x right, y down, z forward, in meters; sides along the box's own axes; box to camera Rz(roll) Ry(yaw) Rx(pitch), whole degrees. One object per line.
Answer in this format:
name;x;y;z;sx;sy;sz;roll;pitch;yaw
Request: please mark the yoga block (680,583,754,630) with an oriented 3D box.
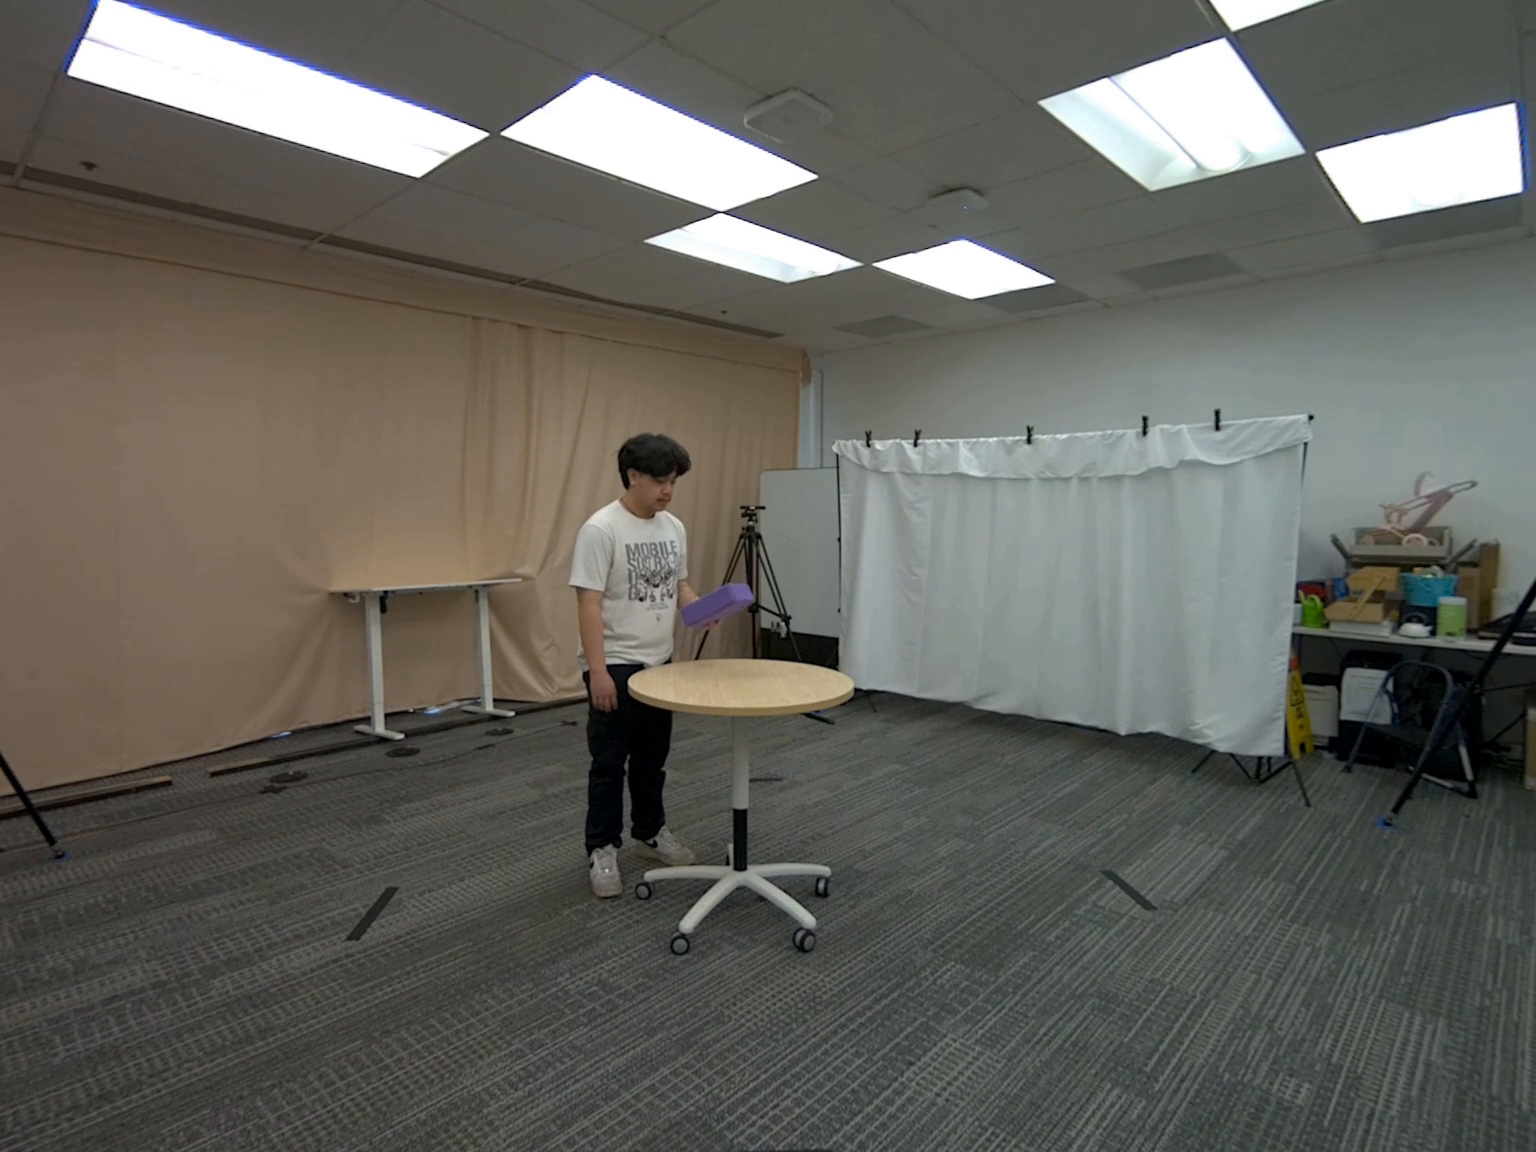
yoga block;-0.184;0.109;3.016;0.233;0.077;0.144;-26;-14;27
